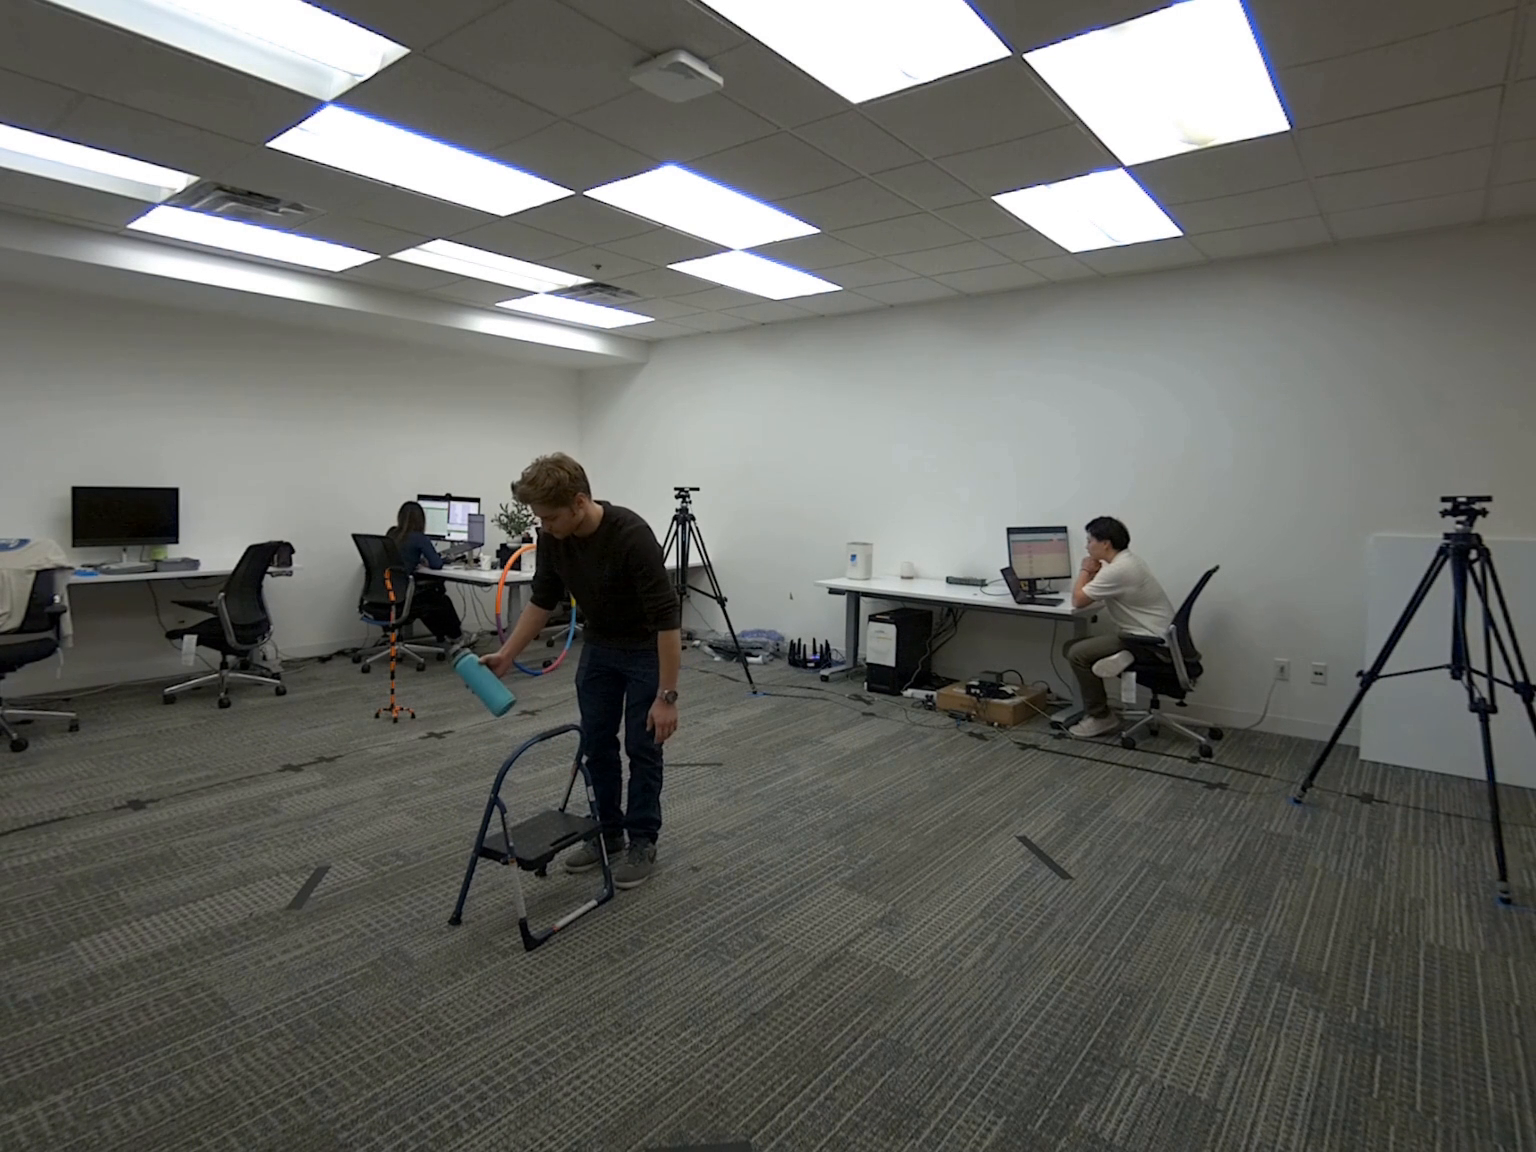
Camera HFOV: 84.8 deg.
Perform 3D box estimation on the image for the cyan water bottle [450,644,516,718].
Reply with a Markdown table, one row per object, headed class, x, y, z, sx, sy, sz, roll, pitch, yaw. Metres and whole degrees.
| class | x | y | z | sx | sy | sz | roll | pitch | yaw |
| --- | --- | --- | --- | --- | --- | --- | --- | --- | --- |
| cyan water bottle | -1.010 | 0.362 | 2.926 | 0.288 | 0.092 | 0.091 | 42 | 12 | 10 |
